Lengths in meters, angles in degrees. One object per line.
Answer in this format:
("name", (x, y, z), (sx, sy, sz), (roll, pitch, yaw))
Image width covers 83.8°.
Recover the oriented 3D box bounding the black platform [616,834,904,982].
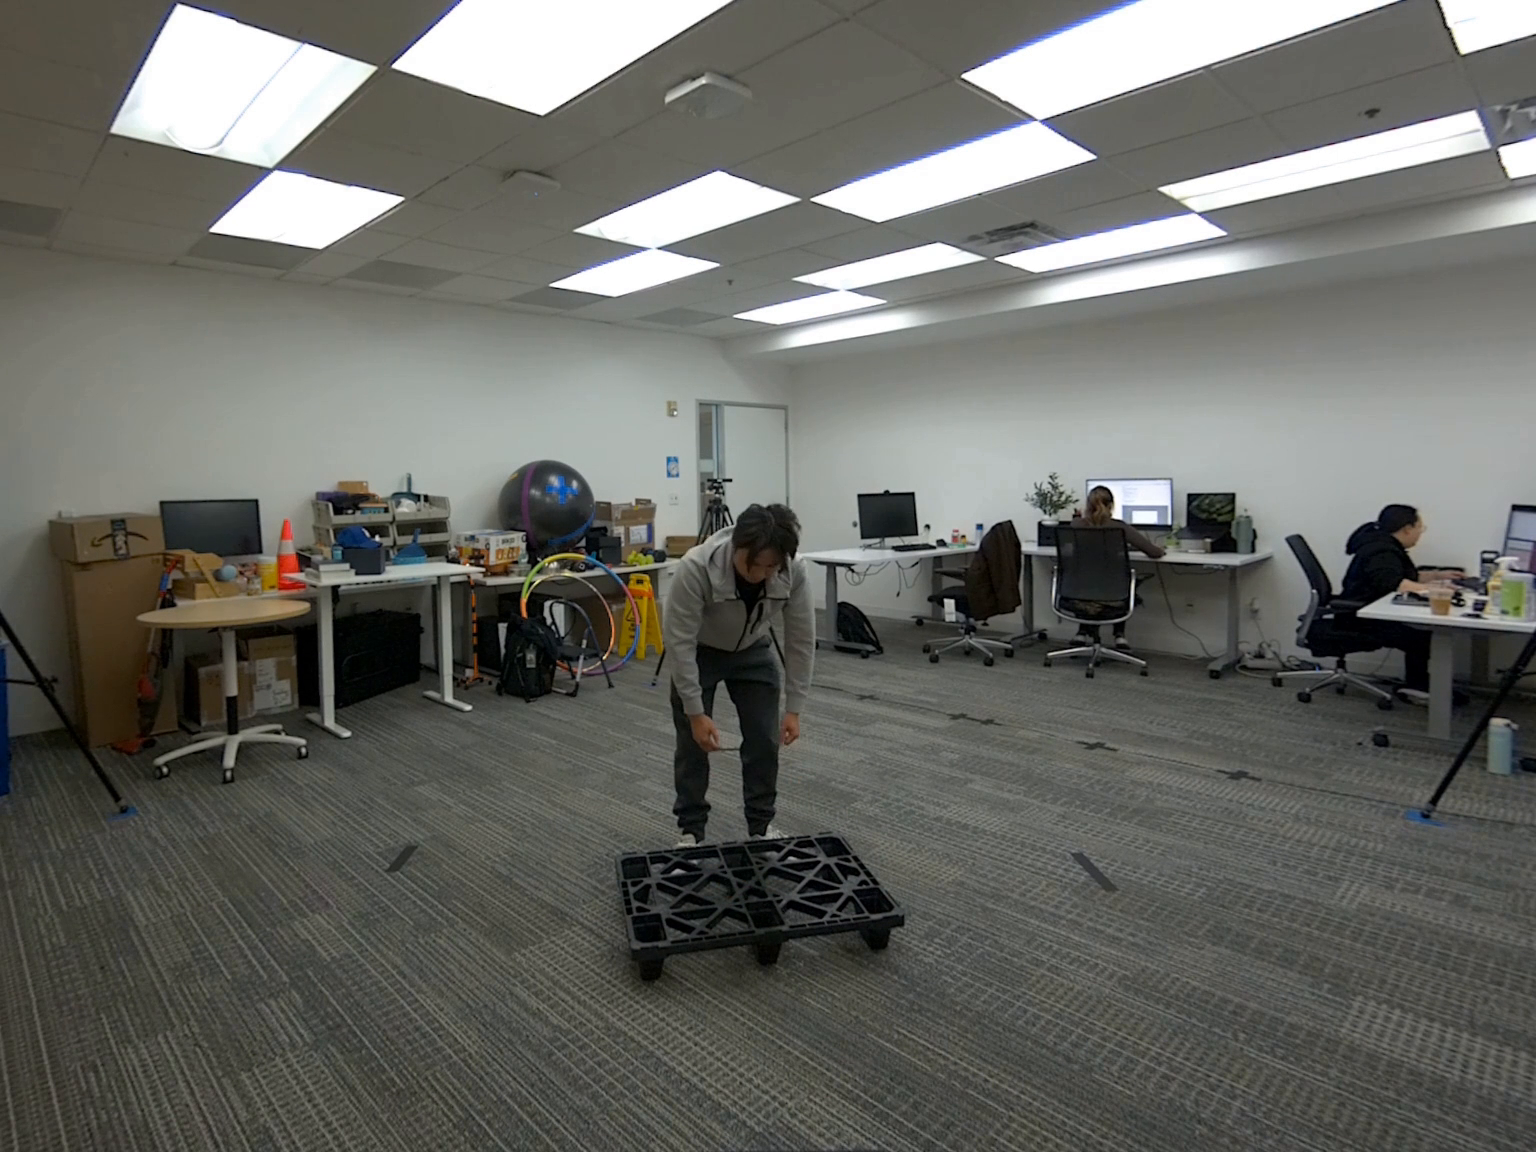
("black platform", (-0.053, 1.027, 2.682), (0.797, 0.142, 0.615), (-3, 7, -12))
